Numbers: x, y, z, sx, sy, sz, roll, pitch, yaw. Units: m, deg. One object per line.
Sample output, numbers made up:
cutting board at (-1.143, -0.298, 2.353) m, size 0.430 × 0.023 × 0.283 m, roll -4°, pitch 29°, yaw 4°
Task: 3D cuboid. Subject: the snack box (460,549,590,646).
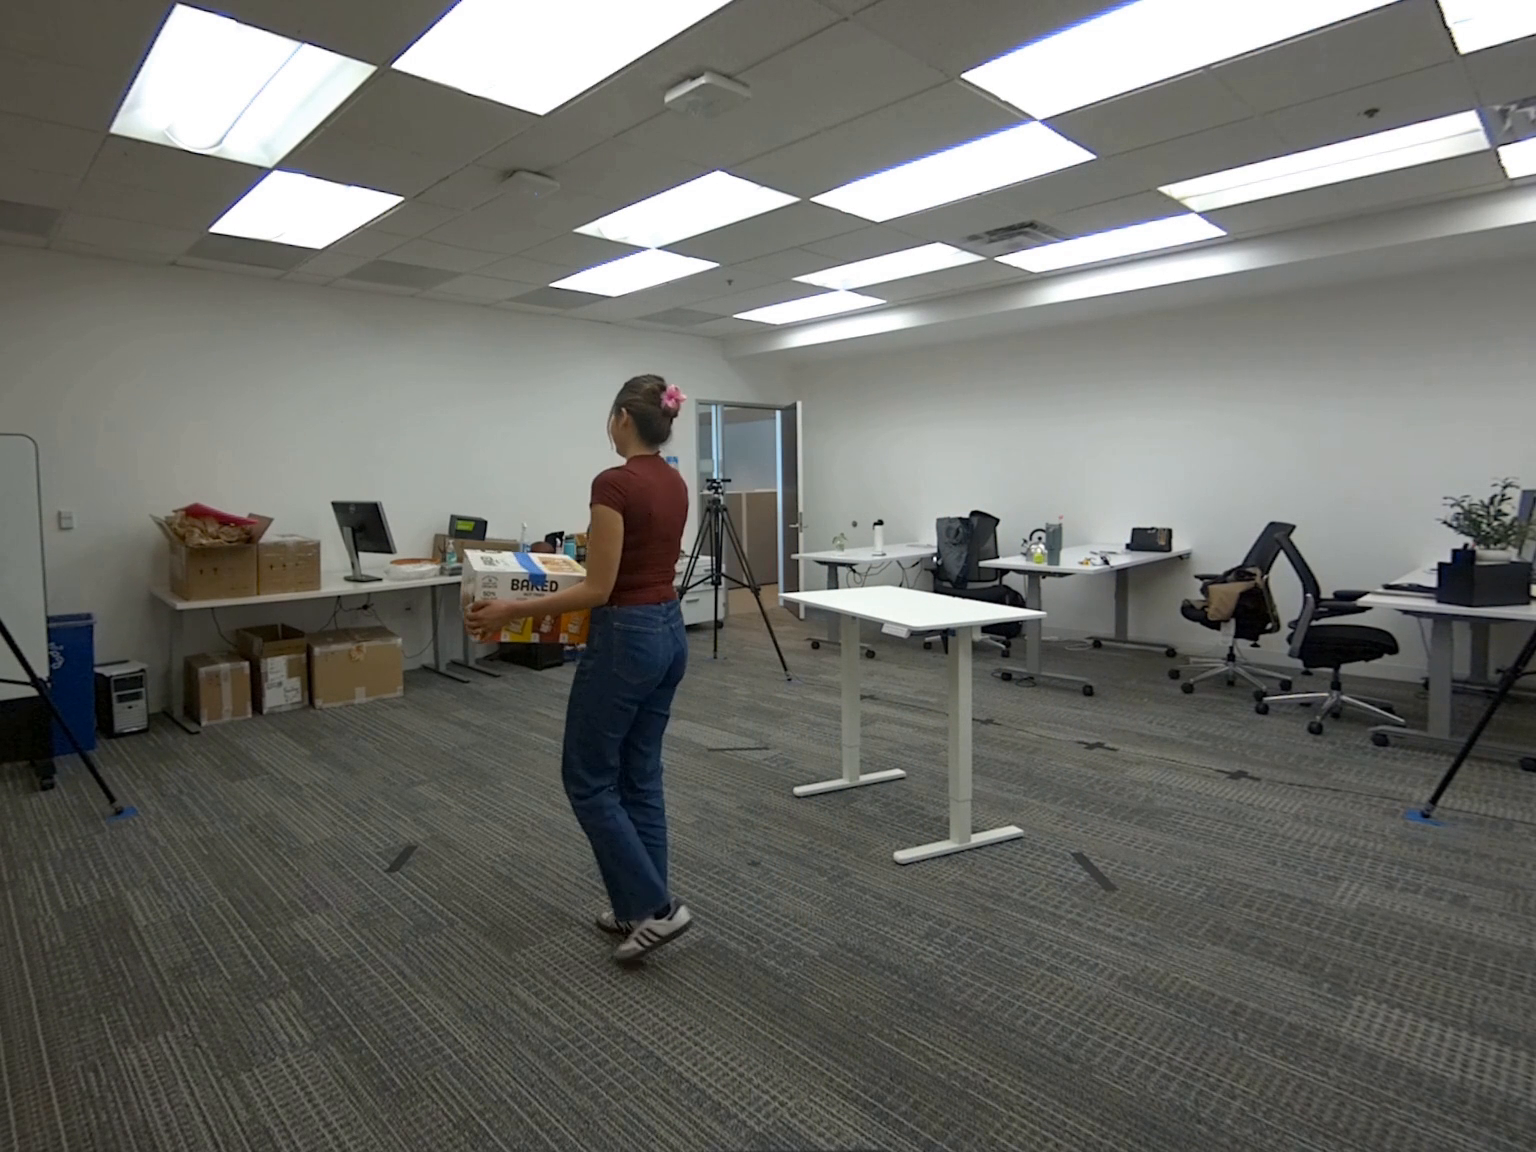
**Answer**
snack box at (-0.749, 0.057, 2.634) m, size 0.333 × 0.204 × 0.416 m, roll 4°, pitch 8°, yaw -23°
